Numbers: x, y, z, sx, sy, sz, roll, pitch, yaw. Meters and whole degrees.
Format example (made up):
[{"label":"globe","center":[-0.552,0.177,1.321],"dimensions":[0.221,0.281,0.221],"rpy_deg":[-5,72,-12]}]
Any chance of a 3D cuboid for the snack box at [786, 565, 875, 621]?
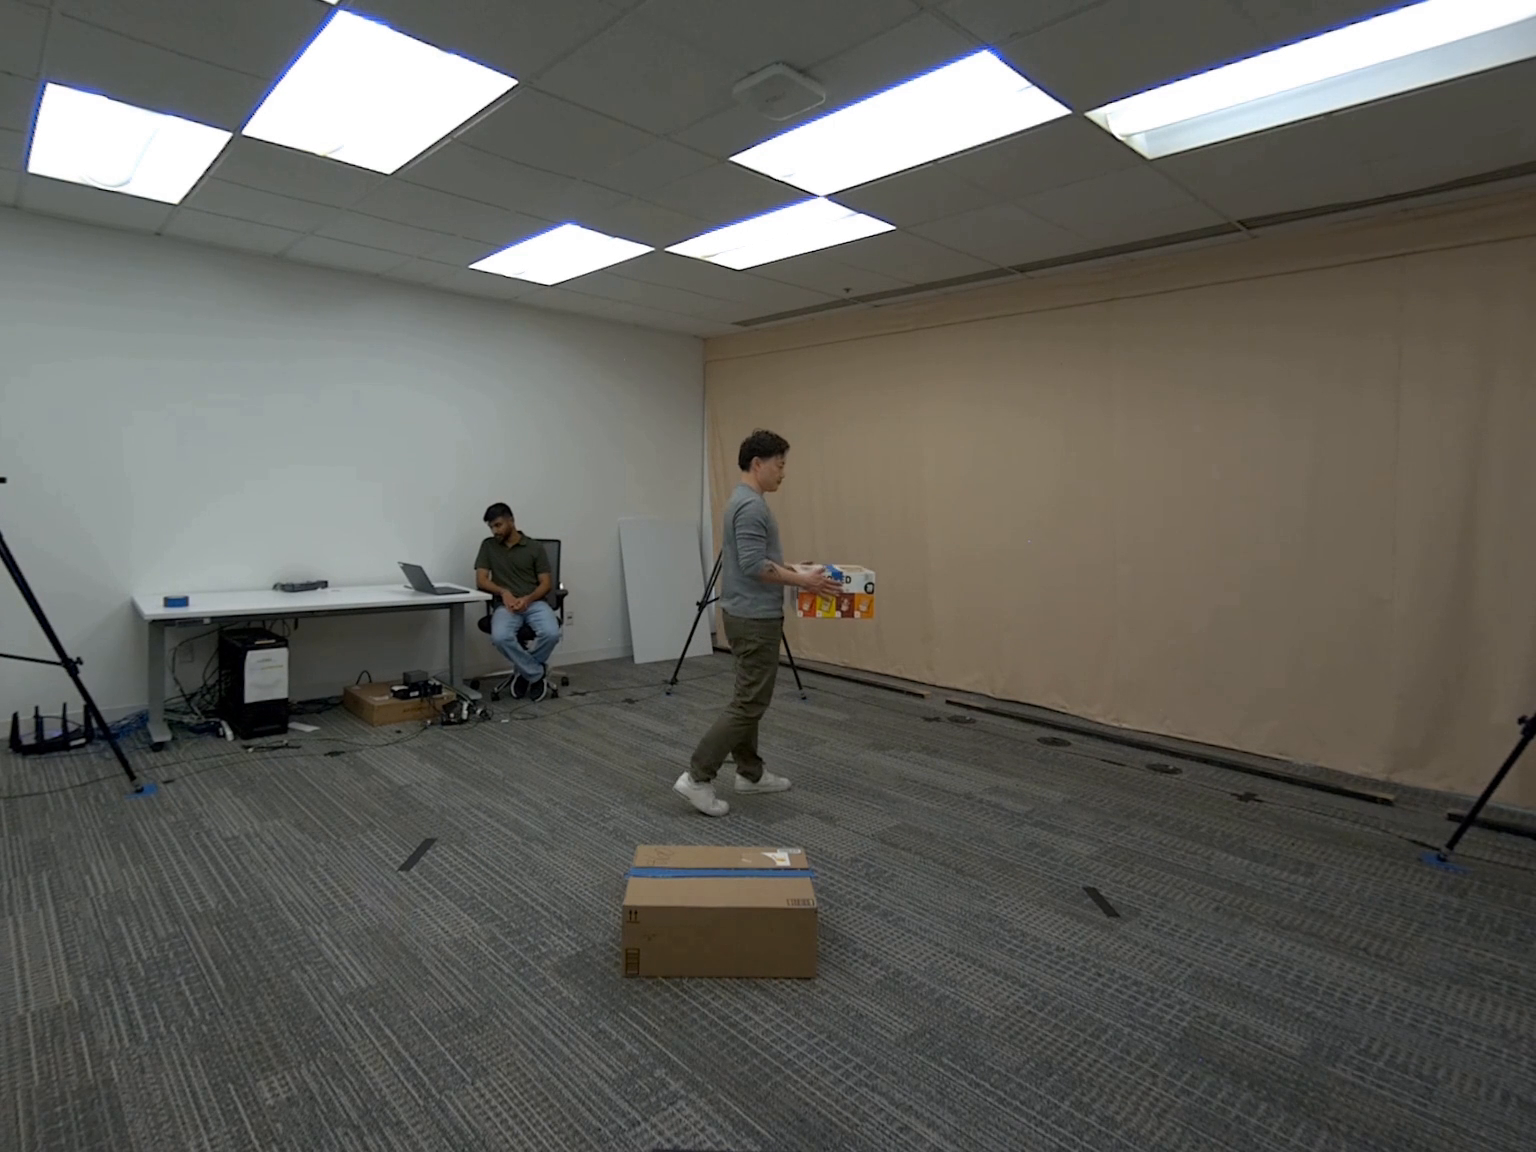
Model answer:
[{"label":"snack box","center":[0.271,0.069,3.860],"dimensions":[0.340,0.205,0.407],"rpy_deg":[1,4,-3]}]
